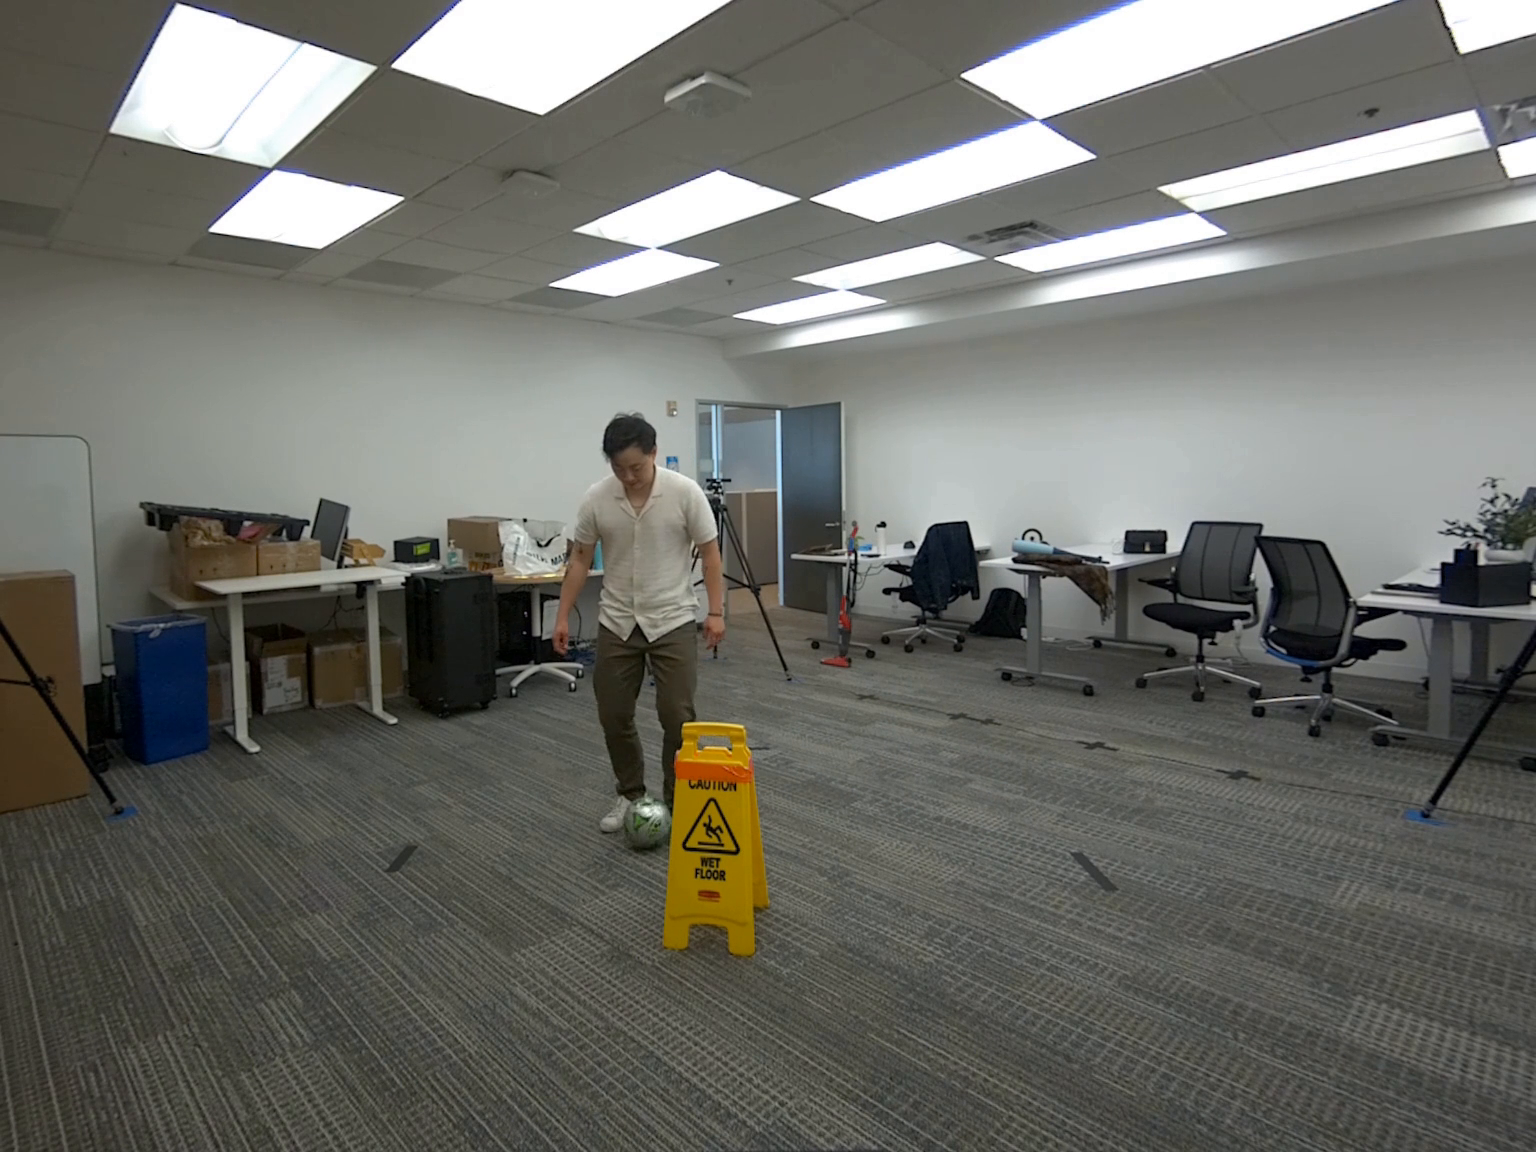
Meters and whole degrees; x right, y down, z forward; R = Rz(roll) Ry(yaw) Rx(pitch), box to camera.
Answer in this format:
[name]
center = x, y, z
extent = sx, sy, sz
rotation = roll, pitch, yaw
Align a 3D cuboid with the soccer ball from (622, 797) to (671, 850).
[soccer ball]
center = -0.456, 0.940, 3.258
extent = 0.187, 0.187, 0.188
rotation = -1, 5, -2
